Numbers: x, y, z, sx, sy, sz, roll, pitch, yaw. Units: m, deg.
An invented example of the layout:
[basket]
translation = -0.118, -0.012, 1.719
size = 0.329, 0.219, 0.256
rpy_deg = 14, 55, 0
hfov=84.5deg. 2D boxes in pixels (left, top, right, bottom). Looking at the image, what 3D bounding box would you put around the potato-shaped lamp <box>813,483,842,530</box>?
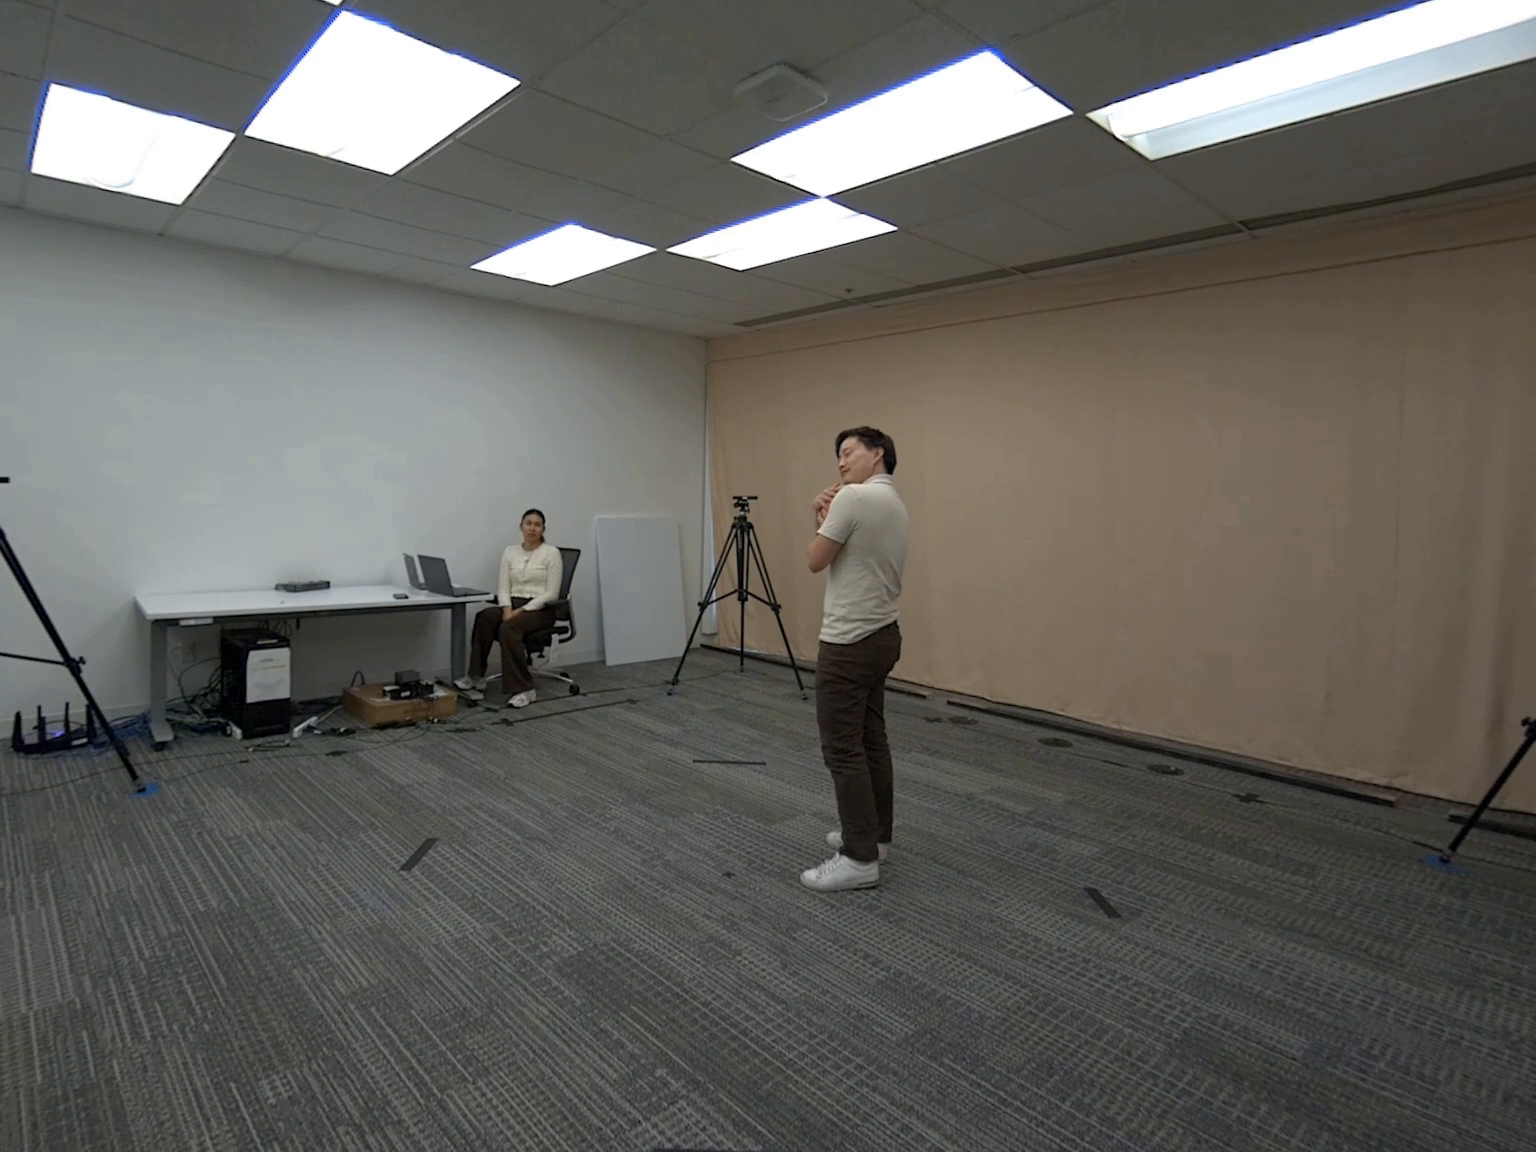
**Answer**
[potato-shaped lamp]
translation = 0.311, -0.271, 3.308
size = 0.160, 0.198, 0.176
rpy_deg = 16, 33, -48
